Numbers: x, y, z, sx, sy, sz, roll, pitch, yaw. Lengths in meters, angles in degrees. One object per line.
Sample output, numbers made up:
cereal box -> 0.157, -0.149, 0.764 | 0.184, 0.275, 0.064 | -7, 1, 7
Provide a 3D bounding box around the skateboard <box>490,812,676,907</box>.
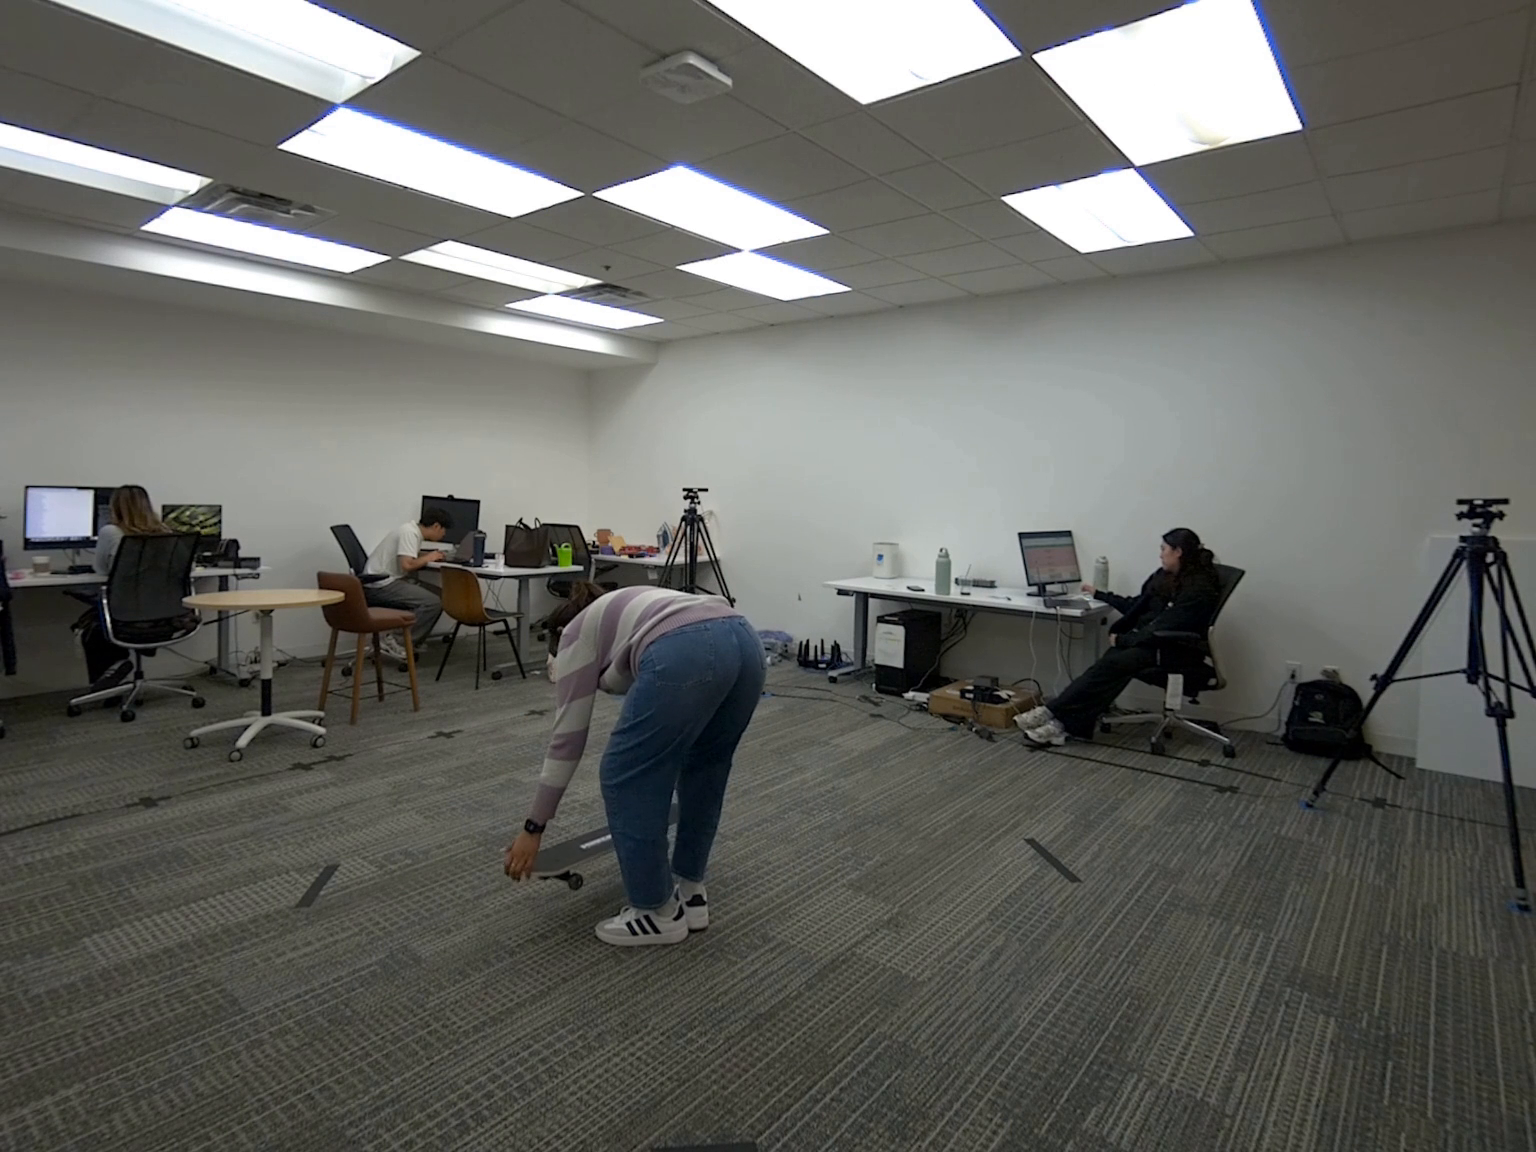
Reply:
skateboard -> -0.558, 0.914, 2.873 | 0.199, 0.110, 0.762 | 0, 3, 39
